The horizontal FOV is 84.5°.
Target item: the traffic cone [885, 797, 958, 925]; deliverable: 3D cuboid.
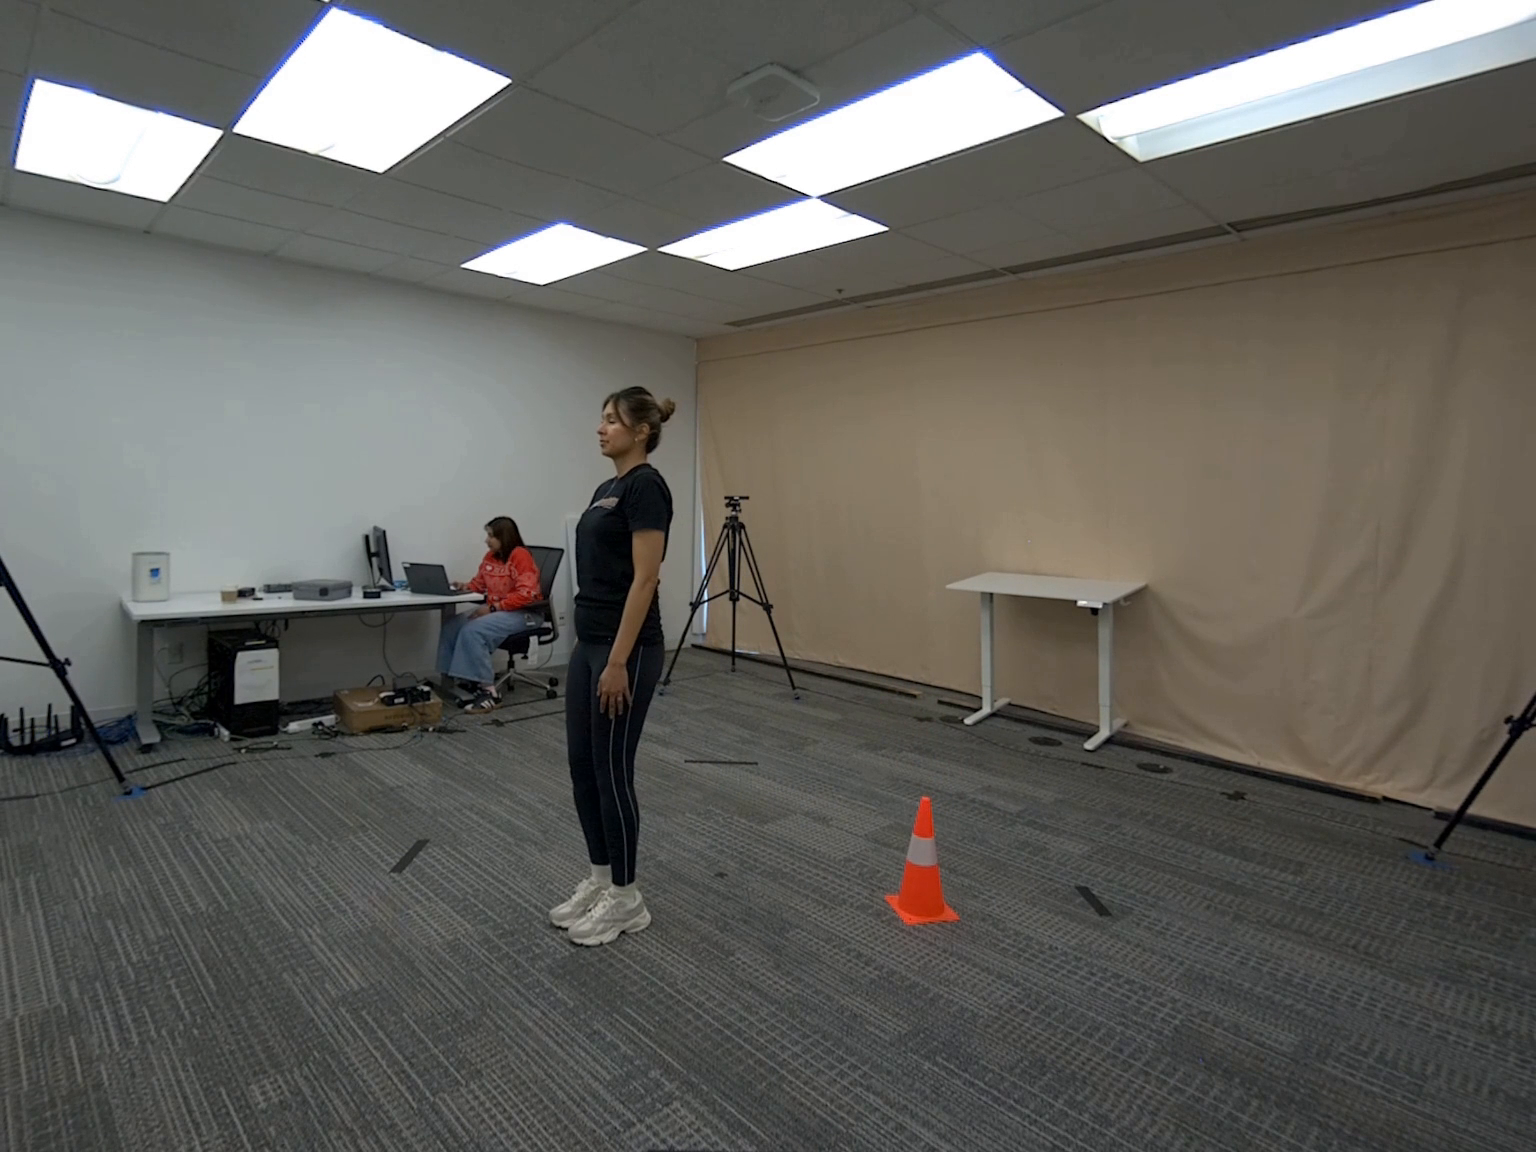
[{"bbox_3d":[0.535,0.957,2.881,0.202,0.383,0.206,1,4,-17],"label":"traffic cone"}]
